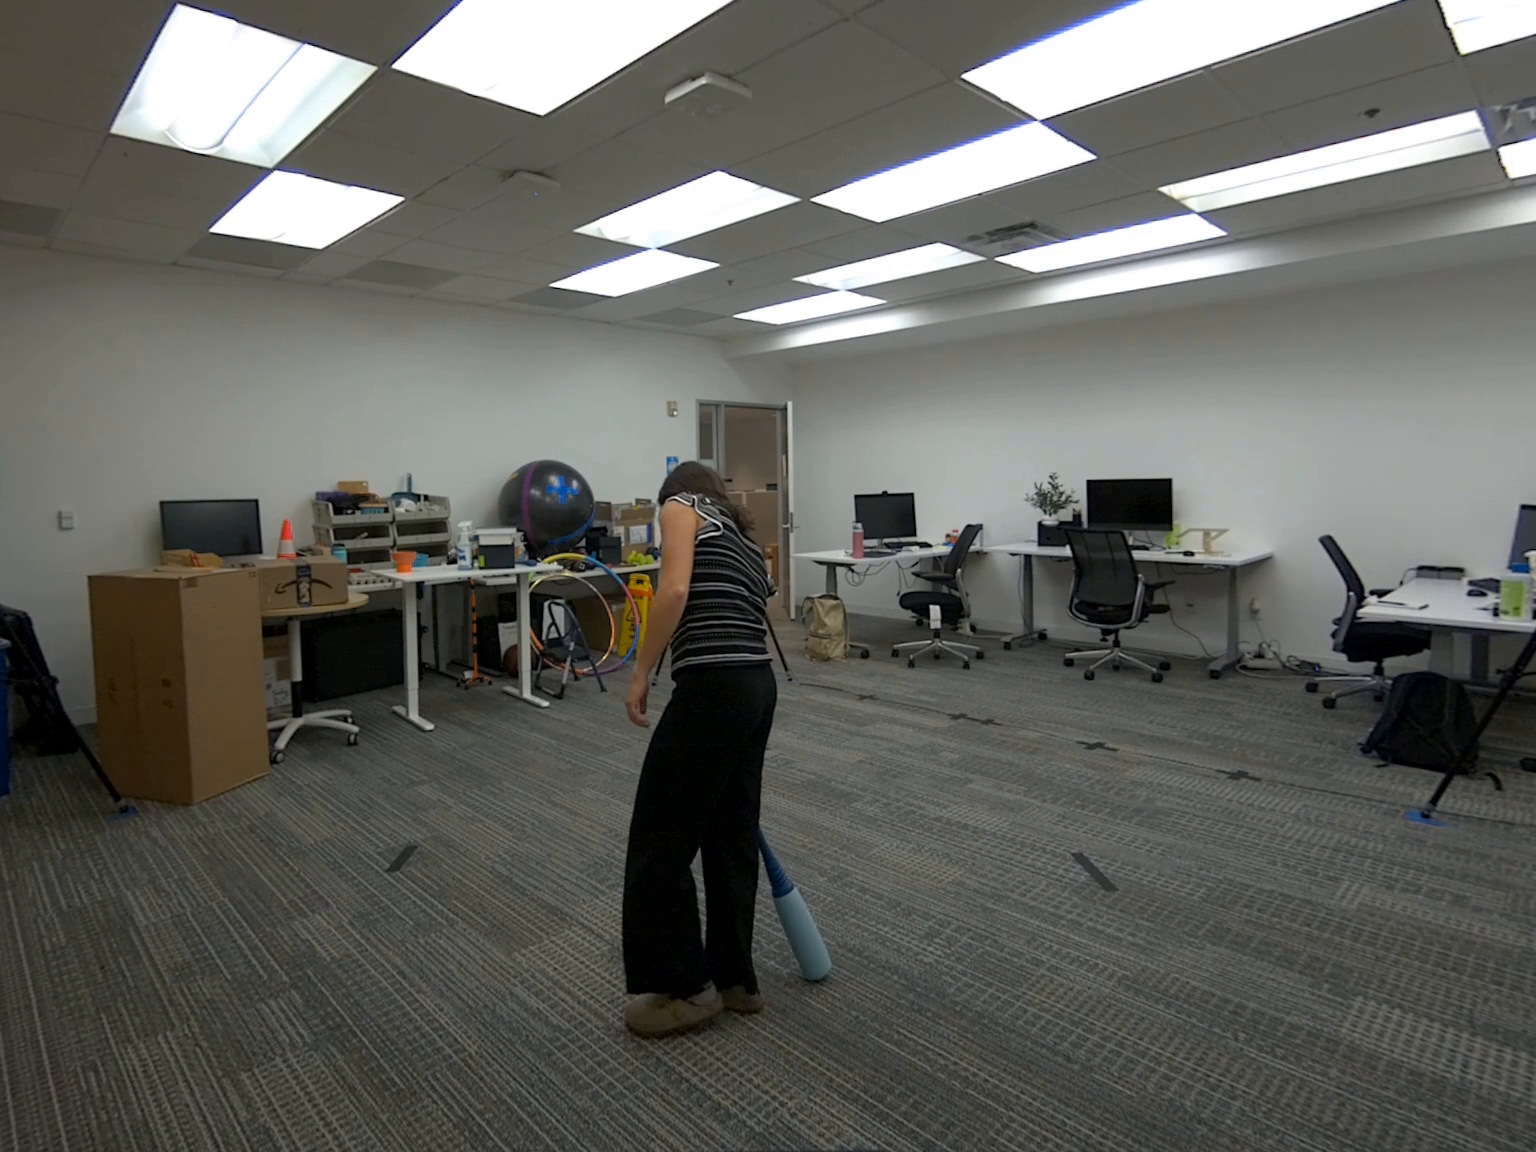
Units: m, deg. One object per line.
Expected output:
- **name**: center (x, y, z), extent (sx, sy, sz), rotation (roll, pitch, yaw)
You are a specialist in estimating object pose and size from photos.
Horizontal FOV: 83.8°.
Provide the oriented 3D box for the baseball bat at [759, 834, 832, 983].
- **baseball bat**: center (0.044, 0.871, 2.396), extent (0.089, 0.544, 0.089), rotation (-24, -1, -2)
